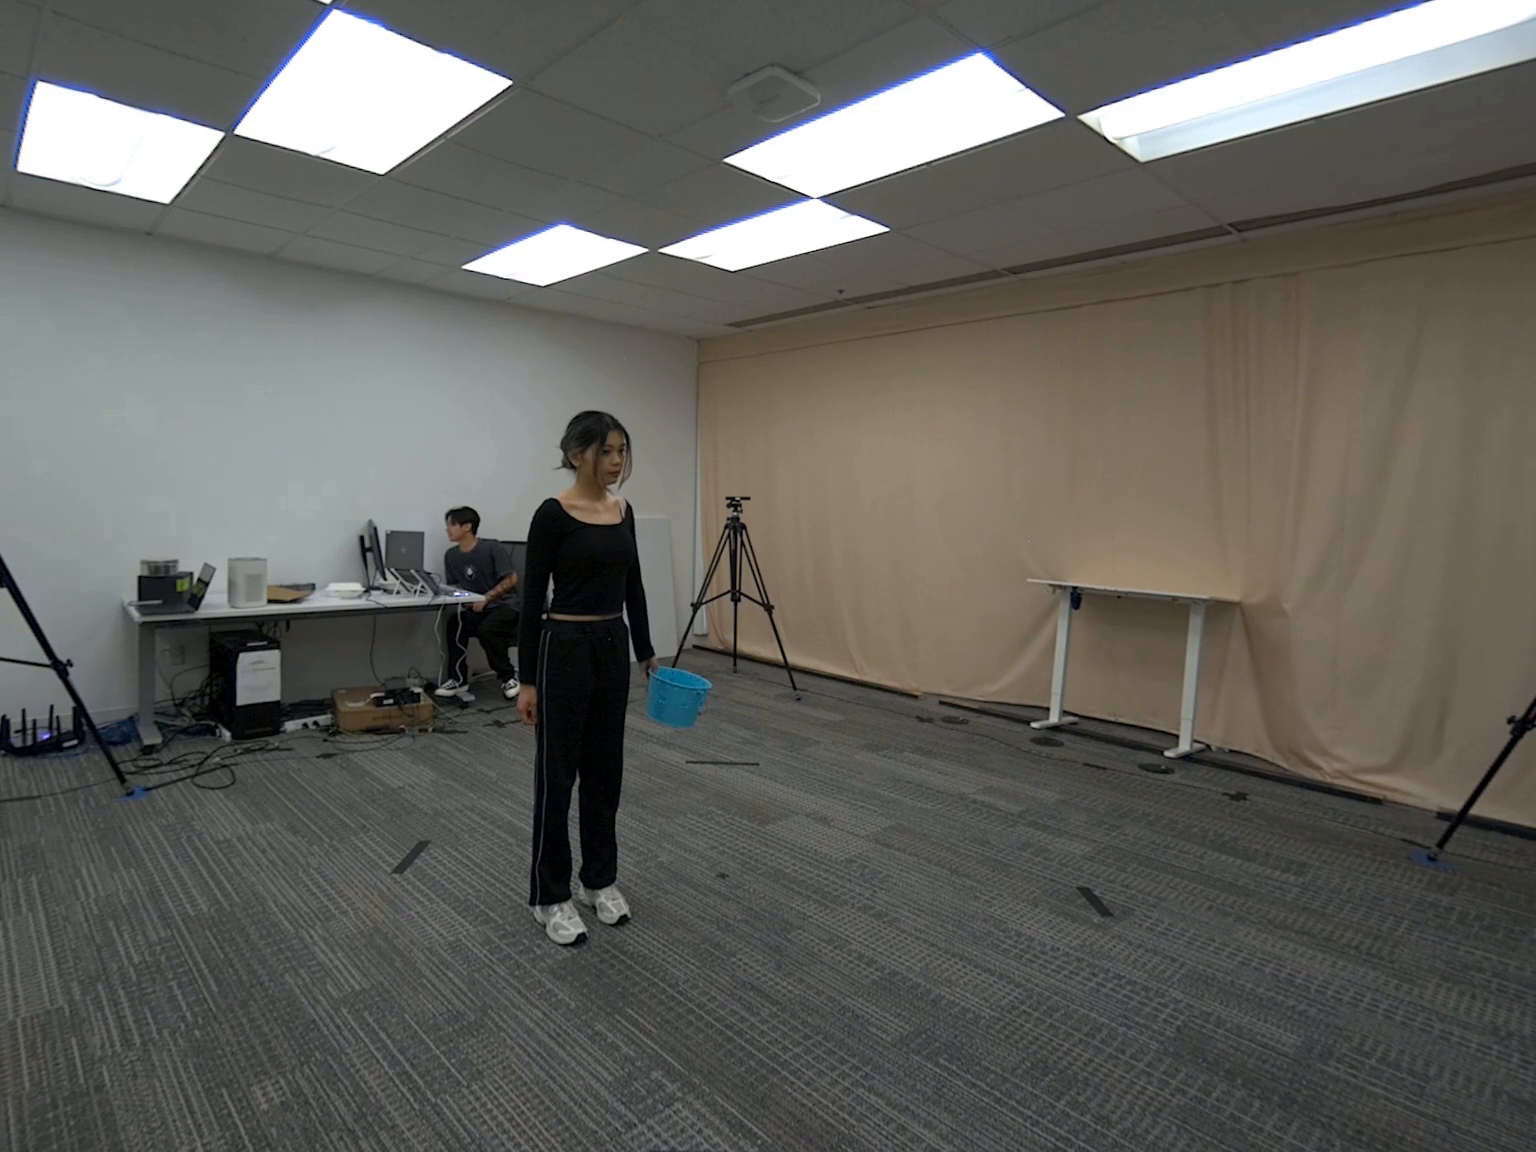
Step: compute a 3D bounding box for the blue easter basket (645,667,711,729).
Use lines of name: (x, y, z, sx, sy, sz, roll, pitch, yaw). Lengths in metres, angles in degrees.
blue easter basket: (-0.329, 0.437, 3.006, 0.243, 0.155, 0.244, 14, 4, -2)
